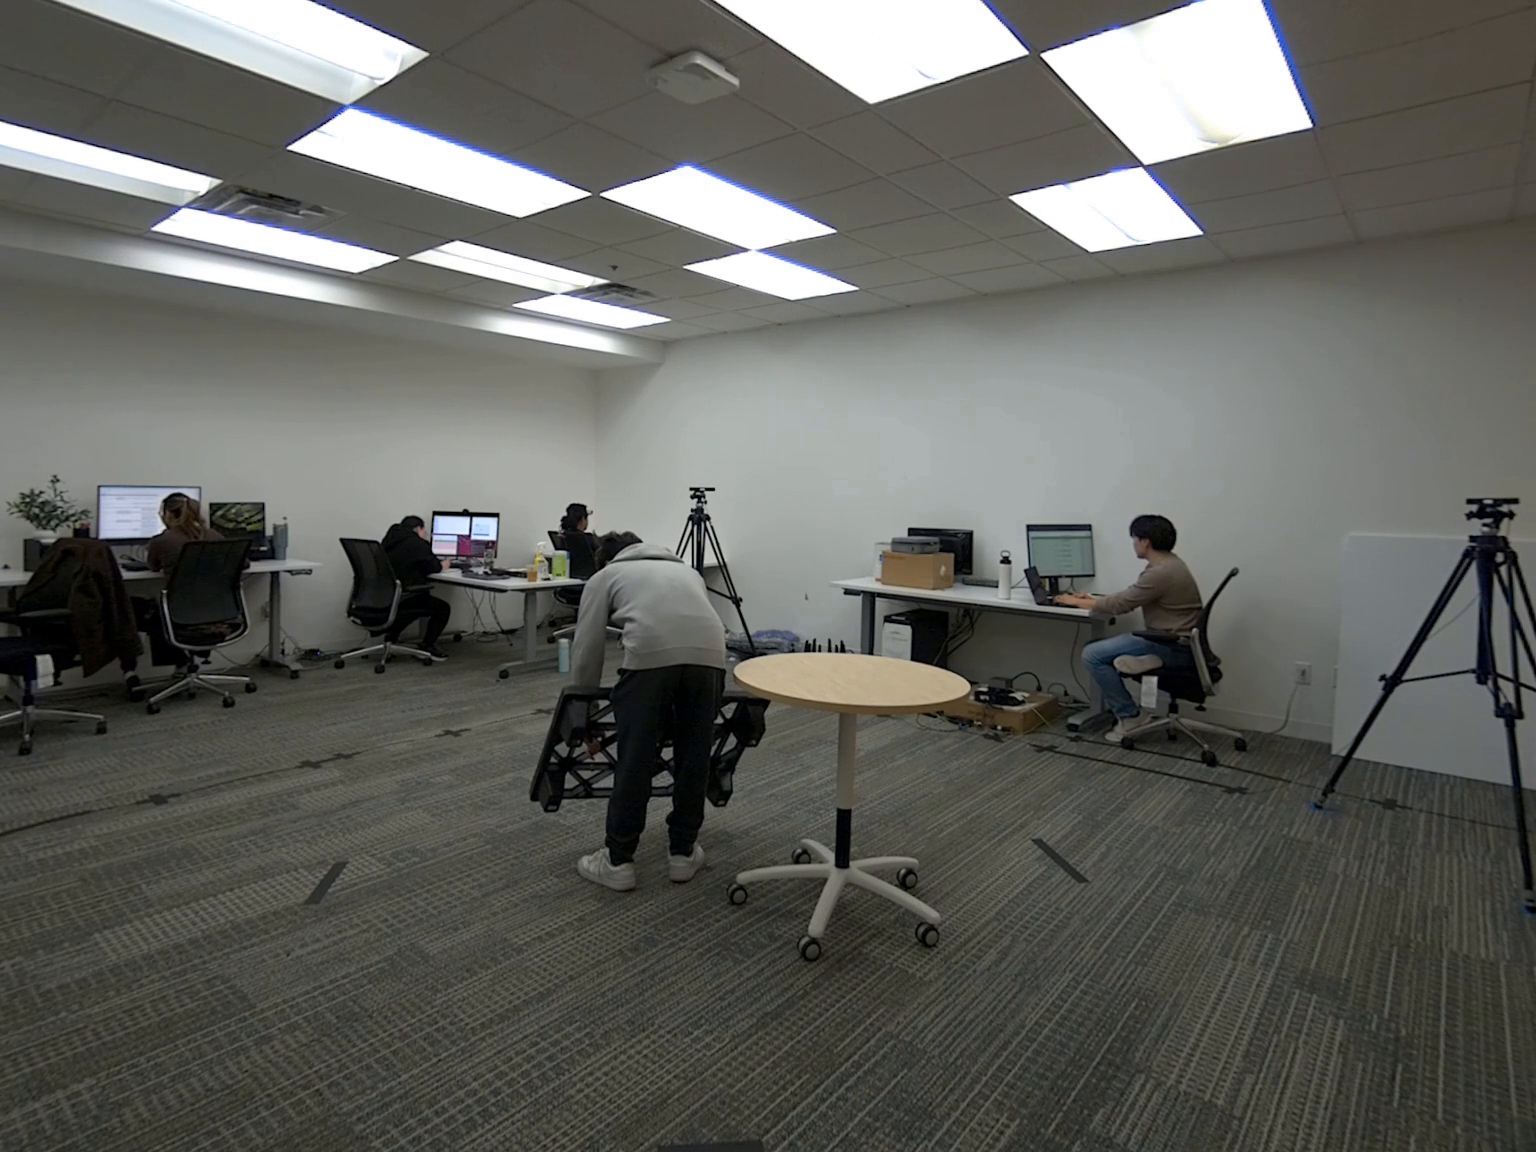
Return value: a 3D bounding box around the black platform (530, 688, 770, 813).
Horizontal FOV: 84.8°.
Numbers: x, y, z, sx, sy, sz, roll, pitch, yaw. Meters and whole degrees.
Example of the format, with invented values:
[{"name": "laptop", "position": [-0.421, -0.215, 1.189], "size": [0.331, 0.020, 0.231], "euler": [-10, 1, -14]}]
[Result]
[{"name": "black platform", "position": [-0.444, 0.670, 3.187], "size": [0.785, 0.597, 0.149], "euler": [6, 38, -24]}]
